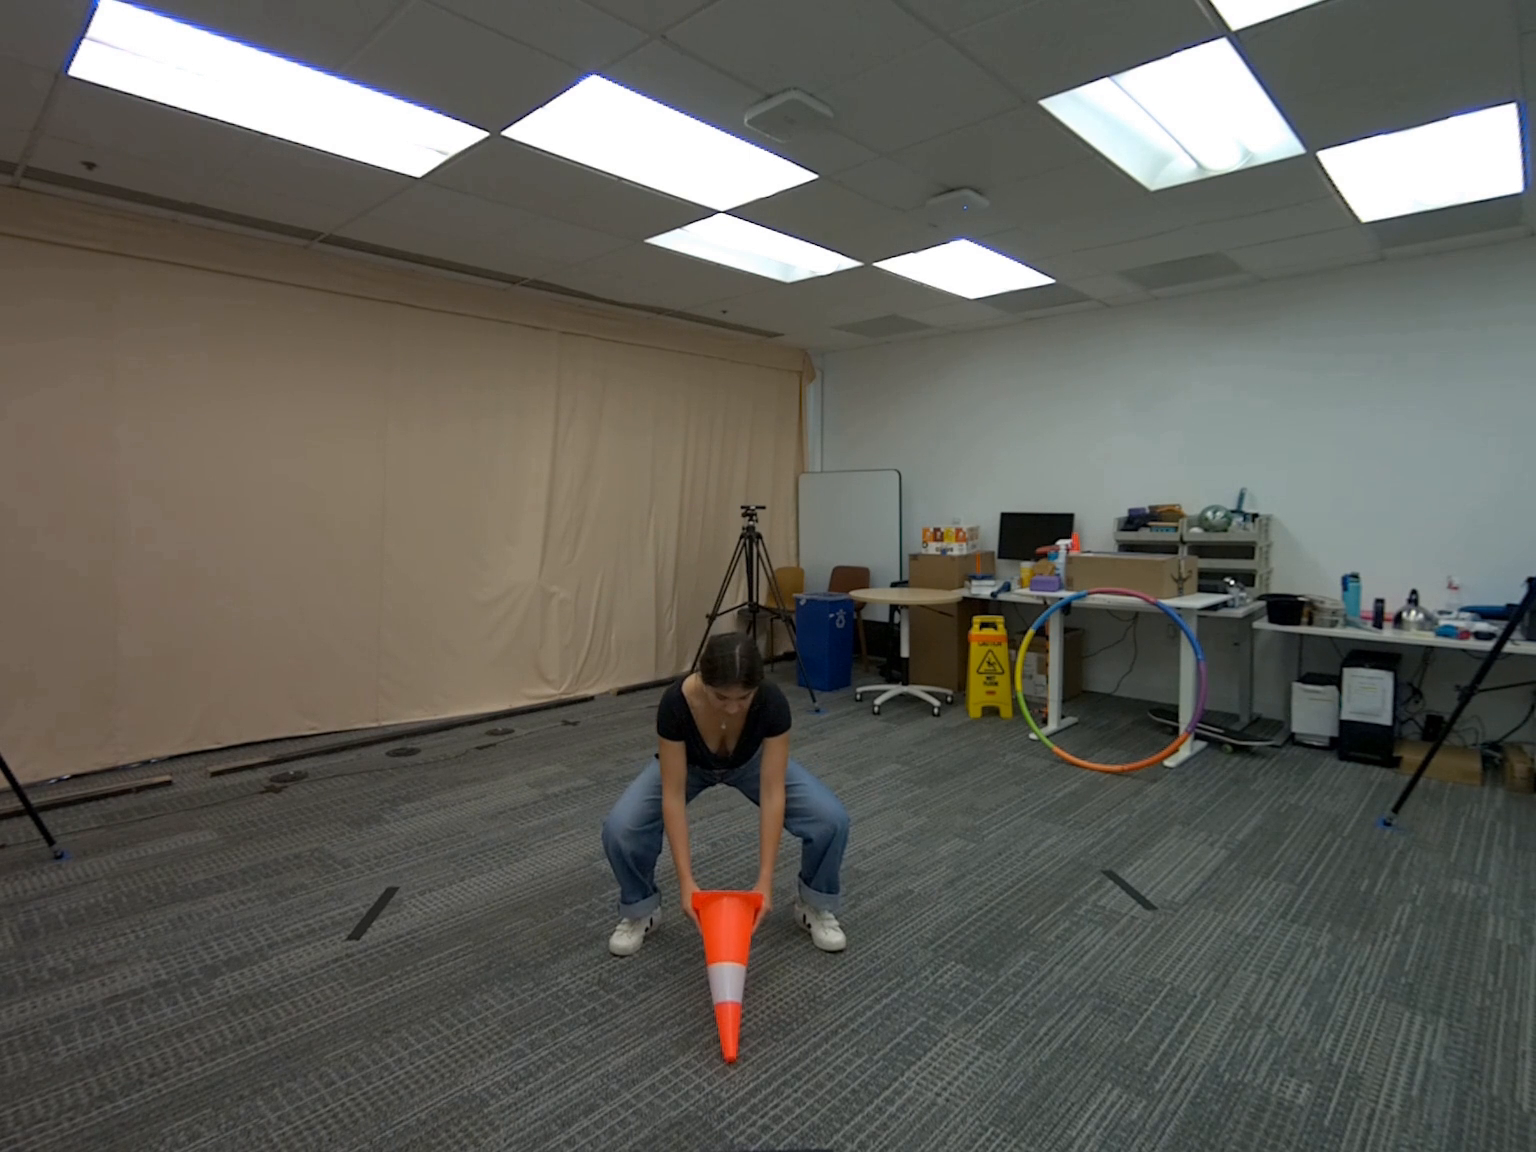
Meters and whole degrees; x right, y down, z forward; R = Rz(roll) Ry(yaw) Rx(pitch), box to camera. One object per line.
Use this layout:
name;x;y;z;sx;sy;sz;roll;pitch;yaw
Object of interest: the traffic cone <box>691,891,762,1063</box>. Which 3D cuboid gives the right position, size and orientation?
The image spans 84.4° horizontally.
traffic cone;-0.097;1.059;2.223;0.202;0.202;0.392;1;46;-6
